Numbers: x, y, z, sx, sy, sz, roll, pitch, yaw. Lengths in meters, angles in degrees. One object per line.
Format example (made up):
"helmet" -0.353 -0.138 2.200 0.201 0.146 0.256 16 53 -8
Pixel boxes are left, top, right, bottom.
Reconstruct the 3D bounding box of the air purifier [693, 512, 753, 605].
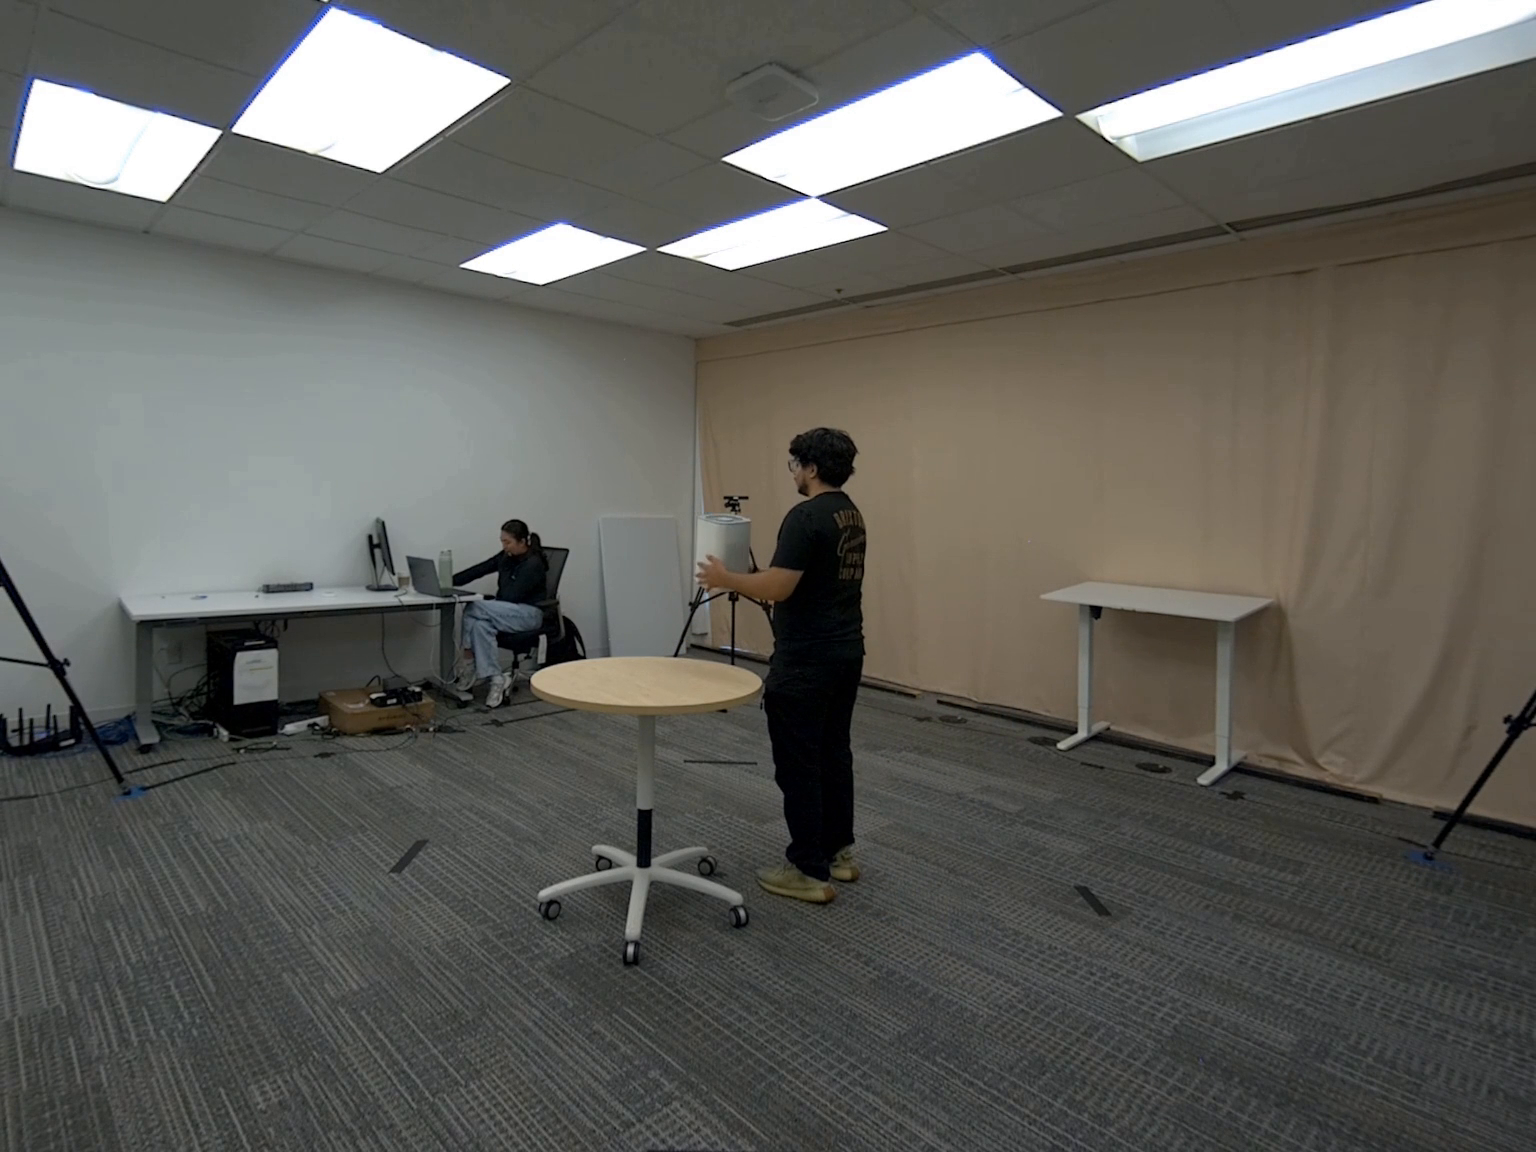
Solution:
"air purifier" -0.167 -0.085 3.132 0.168 0.263 0.176 -7 16 -41
